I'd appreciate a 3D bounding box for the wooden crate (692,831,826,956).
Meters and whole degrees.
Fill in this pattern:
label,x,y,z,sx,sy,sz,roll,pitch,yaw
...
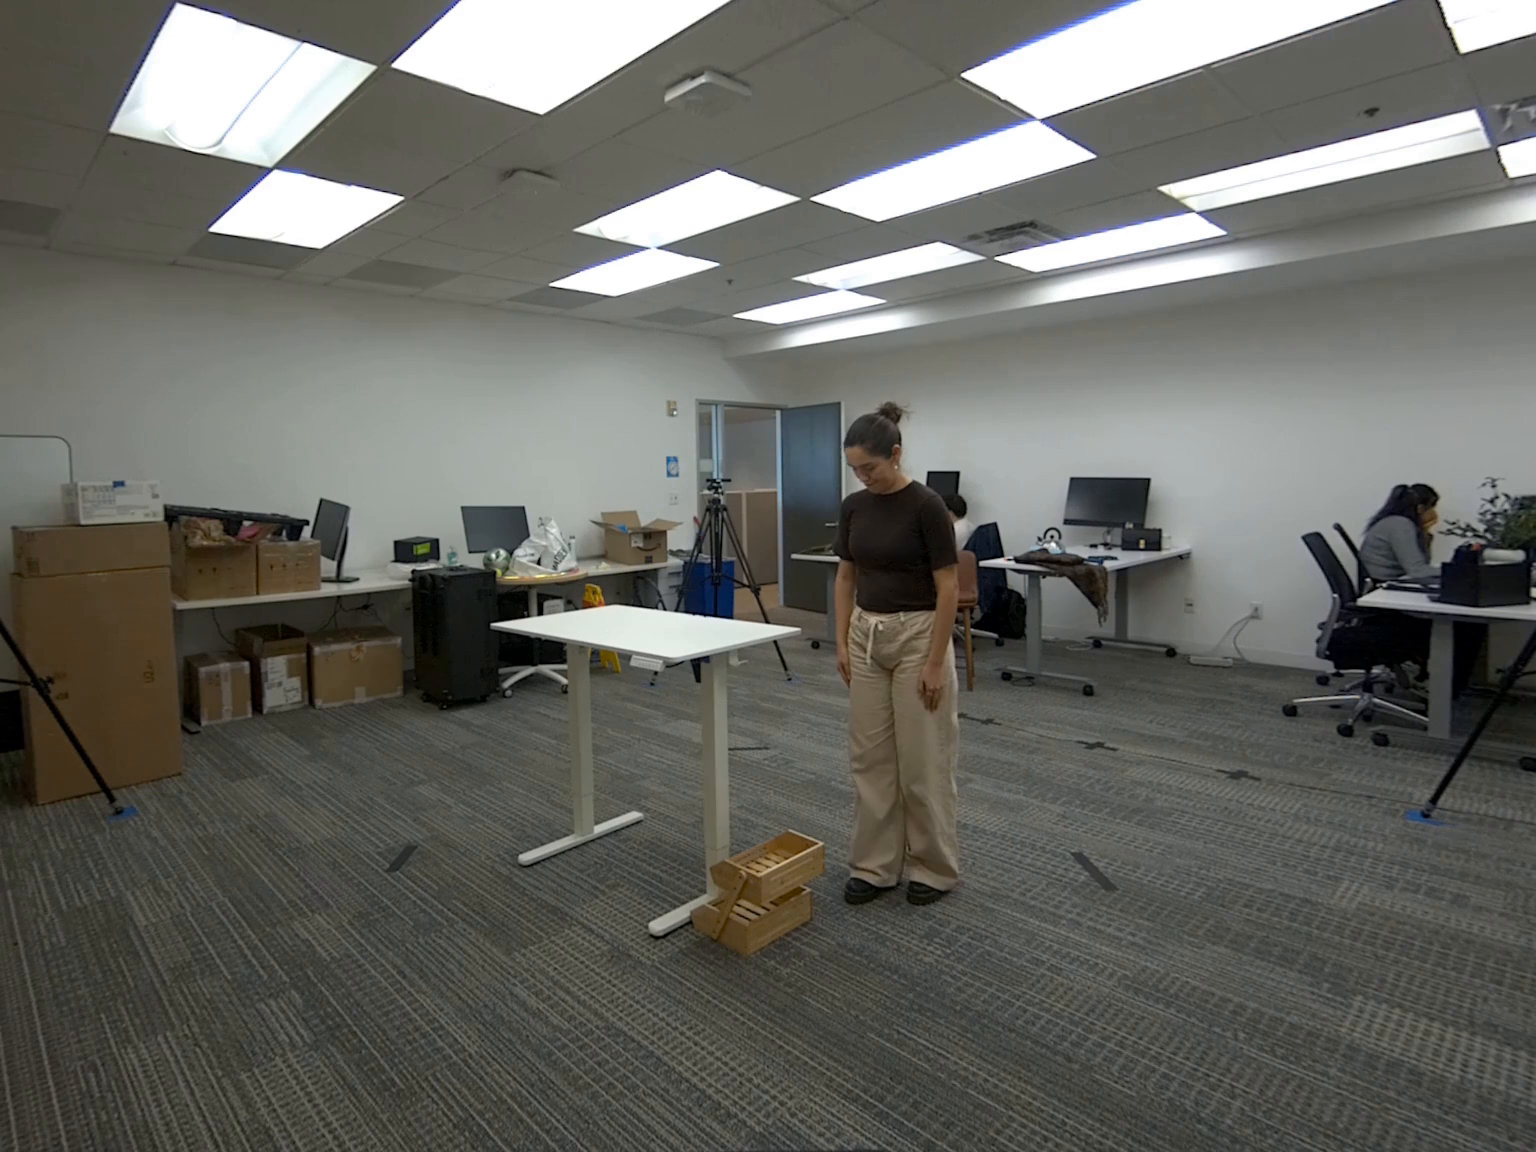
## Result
label,x,y,z,sx,sy,sz,roll,pitch,yaw
wooden crate,-0.031,0.963,2.666,0.311,0.272,0.316,5,9,43
